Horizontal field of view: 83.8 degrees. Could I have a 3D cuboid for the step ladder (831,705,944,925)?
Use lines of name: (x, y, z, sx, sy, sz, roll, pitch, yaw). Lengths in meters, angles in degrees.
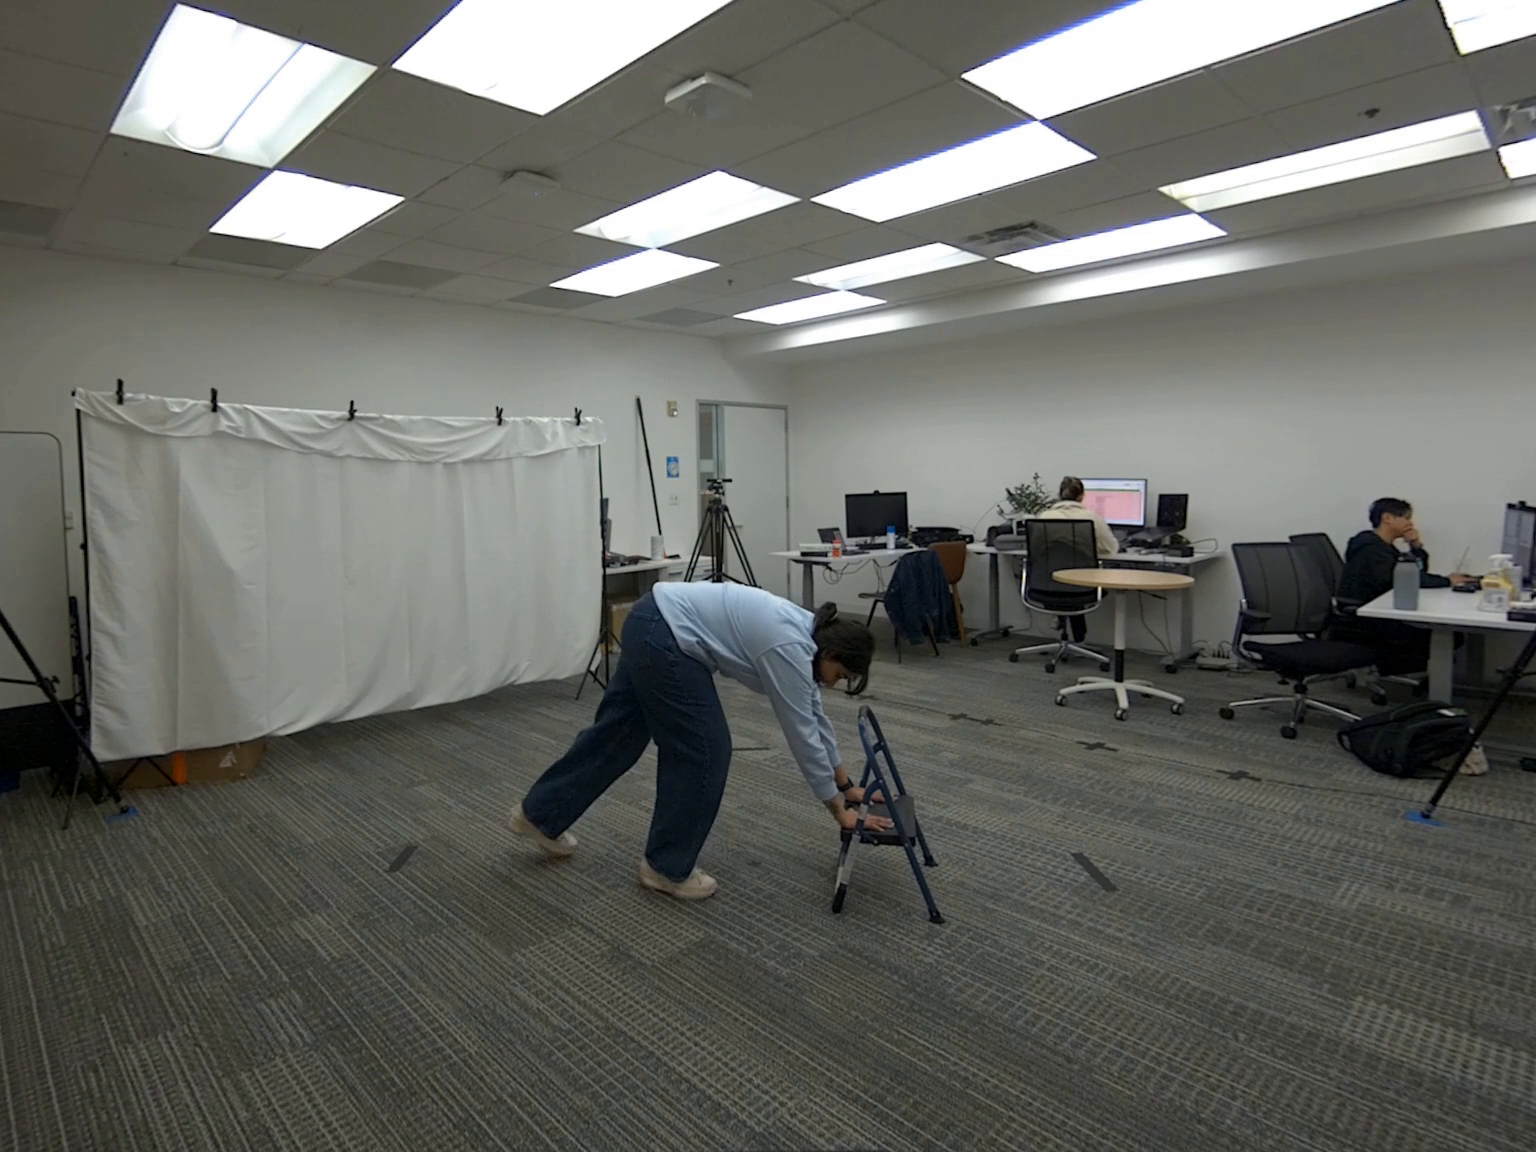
step ladder: (0.398, 0.755, 2.888, 0.353, 0.604, 0.428, -1, 4, 9)
